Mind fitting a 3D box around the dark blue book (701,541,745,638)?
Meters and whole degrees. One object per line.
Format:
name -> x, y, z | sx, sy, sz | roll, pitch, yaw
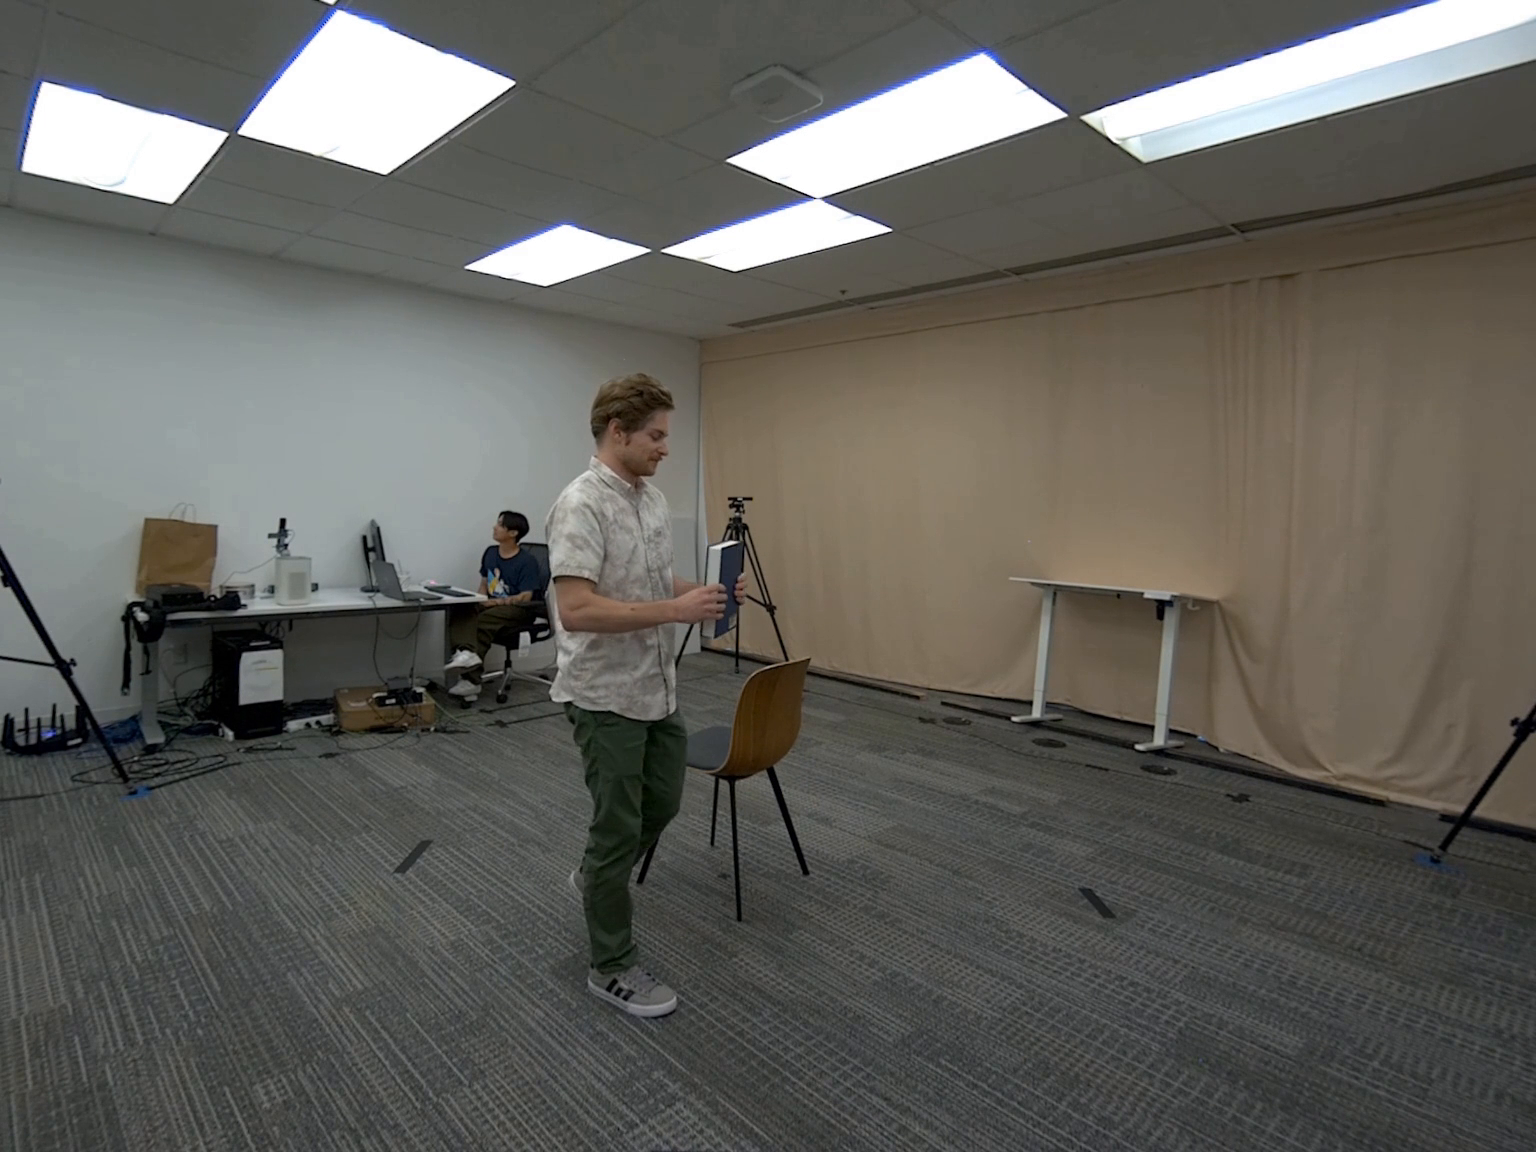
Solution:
dark blue book -> -0.131, 0.033, 2.250 | 0.046, 0.244, 0.162 | 8, 9, 17
